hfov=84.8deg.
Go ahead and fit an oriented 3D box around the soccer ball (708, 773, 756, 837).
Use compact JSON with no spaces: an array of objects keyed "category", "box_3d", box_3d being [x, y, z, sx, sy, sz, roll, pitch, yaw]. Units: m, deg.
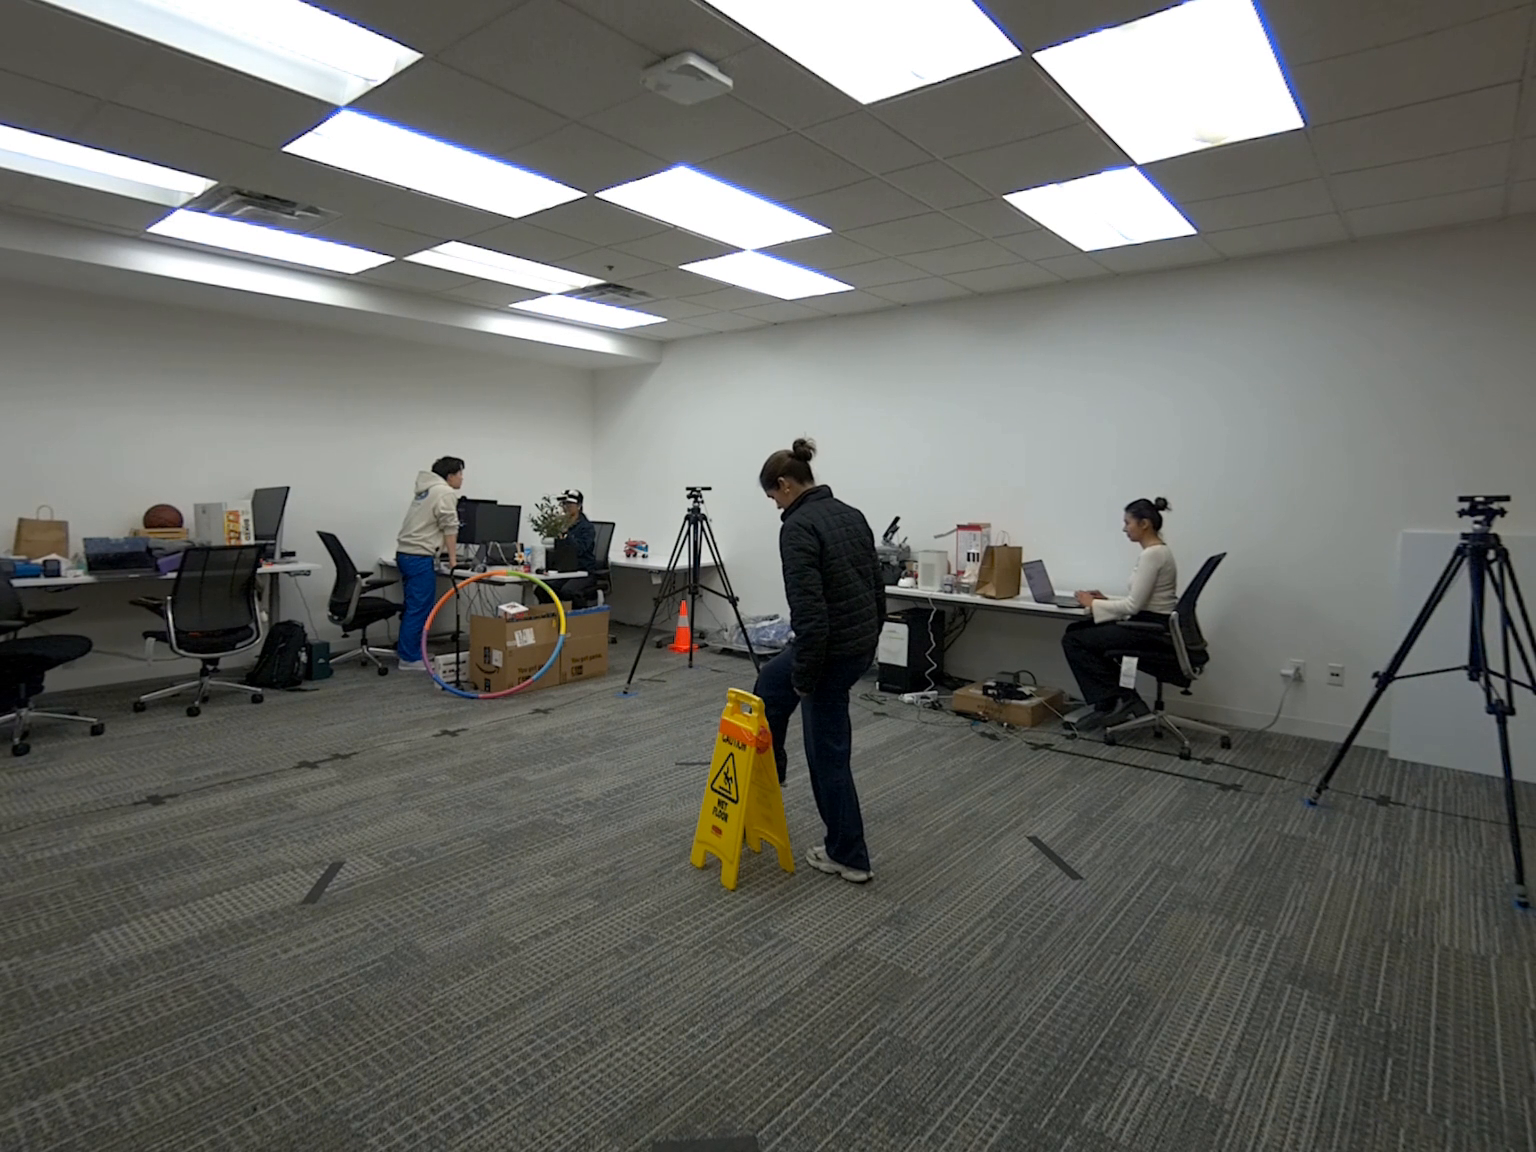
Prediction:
[{"category":"soccer ball","box_3d":[-0.151,0.931,3.434,0.187,0.187,0.188,1,4,-2]}]
